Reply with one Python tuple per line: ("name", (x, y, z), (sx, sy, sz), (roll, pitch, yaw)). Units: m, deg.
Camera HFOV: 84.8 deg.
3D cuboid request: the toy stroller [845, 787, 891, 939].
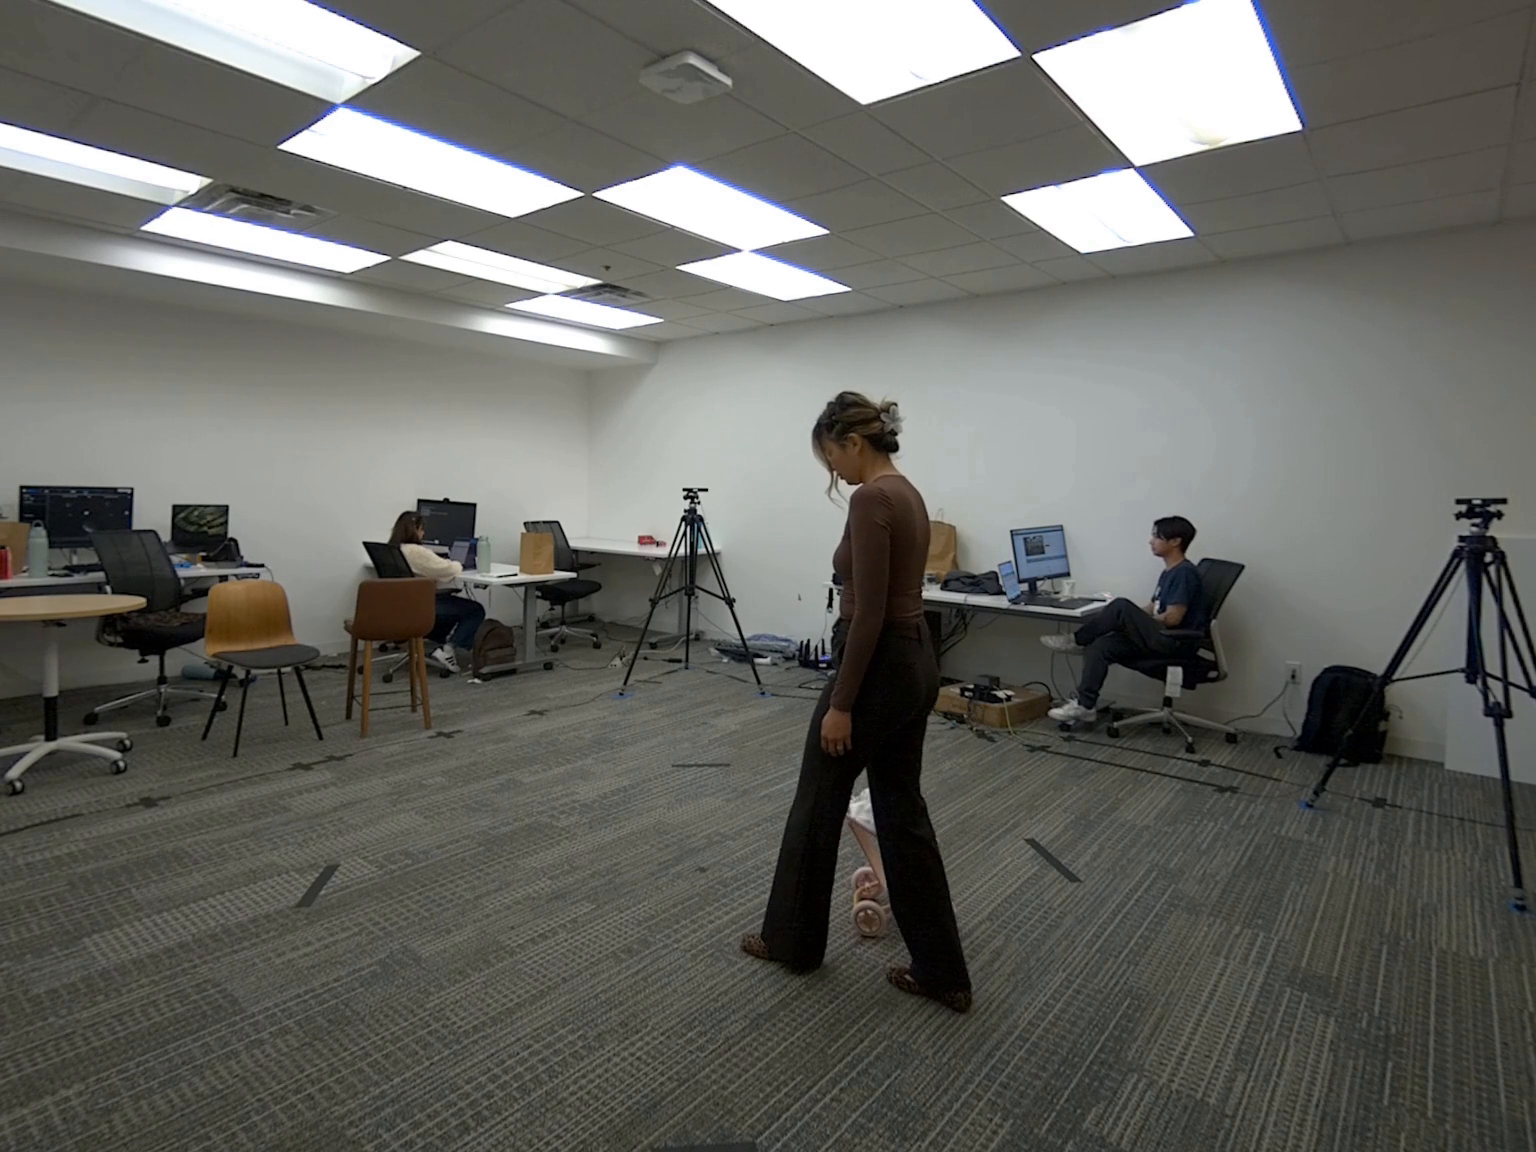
("toy stroller", (0.389, 0.894, 2.764), (0.345, 0.535, 0.278), (-15, 1, 13))
